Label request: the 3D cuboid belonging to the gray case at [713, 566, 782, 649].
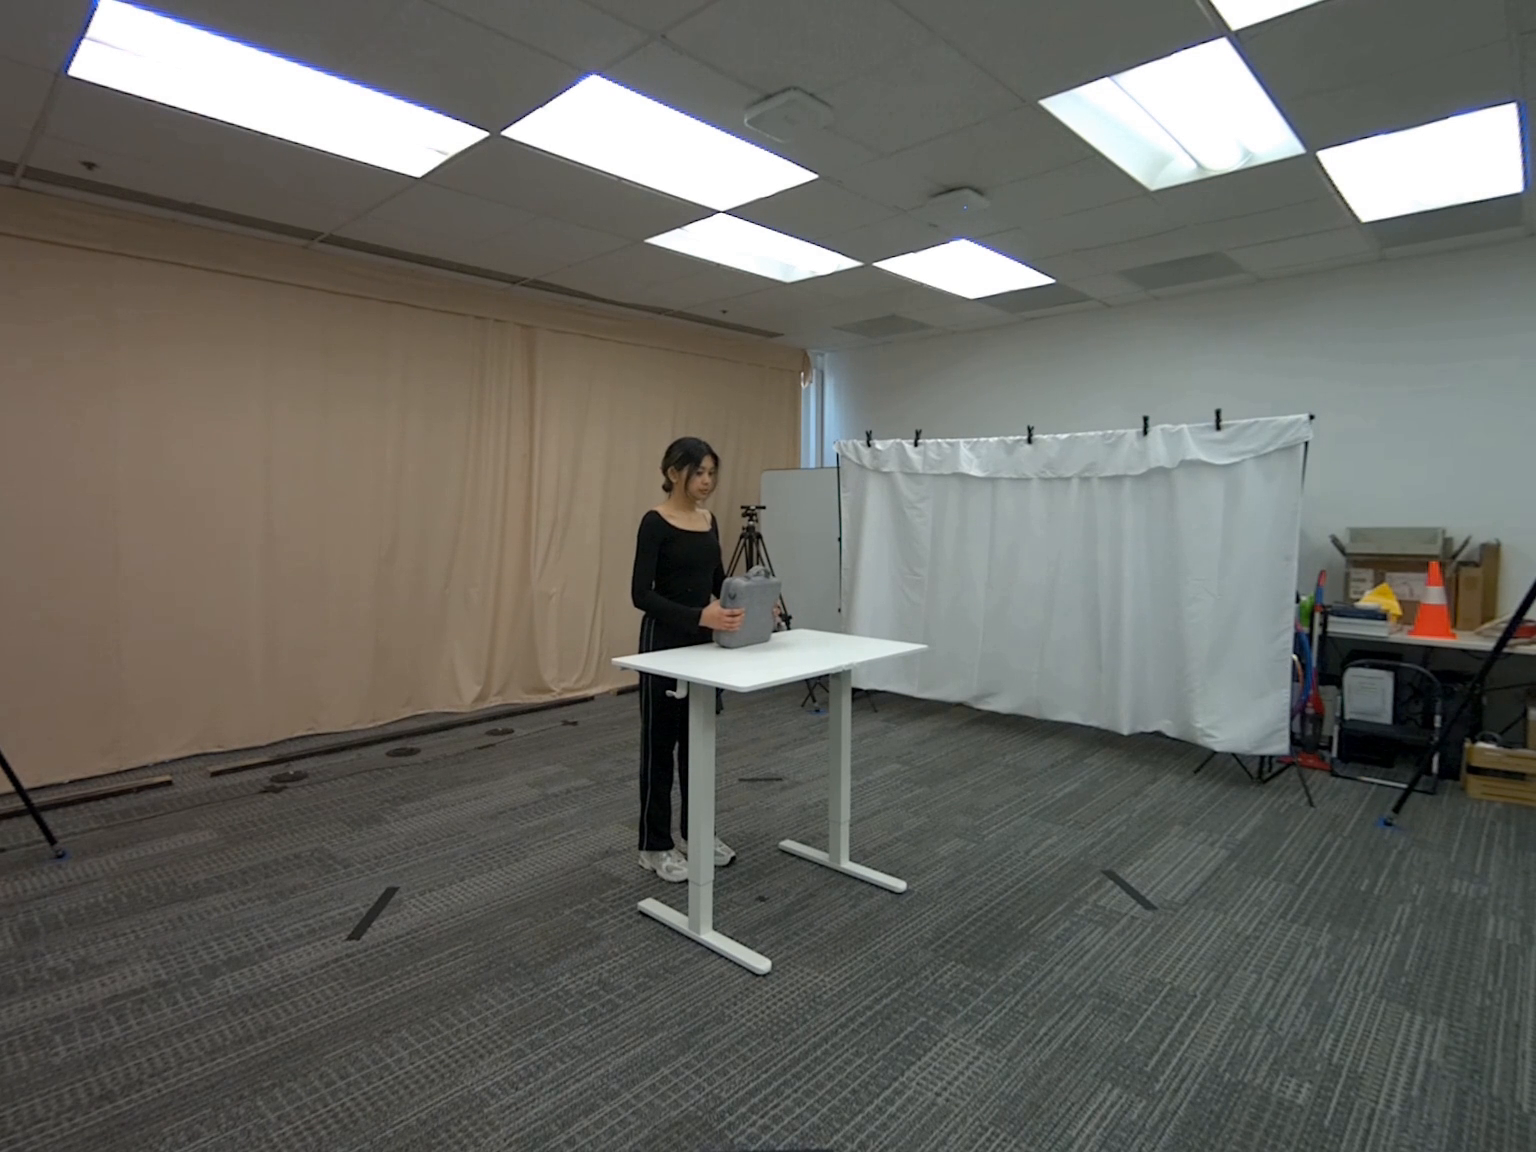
[{"bbox_3d":[-0.069,0.122,3.070,0.108,0.259,0.249,19,15,35],"label":"gray case"}]
